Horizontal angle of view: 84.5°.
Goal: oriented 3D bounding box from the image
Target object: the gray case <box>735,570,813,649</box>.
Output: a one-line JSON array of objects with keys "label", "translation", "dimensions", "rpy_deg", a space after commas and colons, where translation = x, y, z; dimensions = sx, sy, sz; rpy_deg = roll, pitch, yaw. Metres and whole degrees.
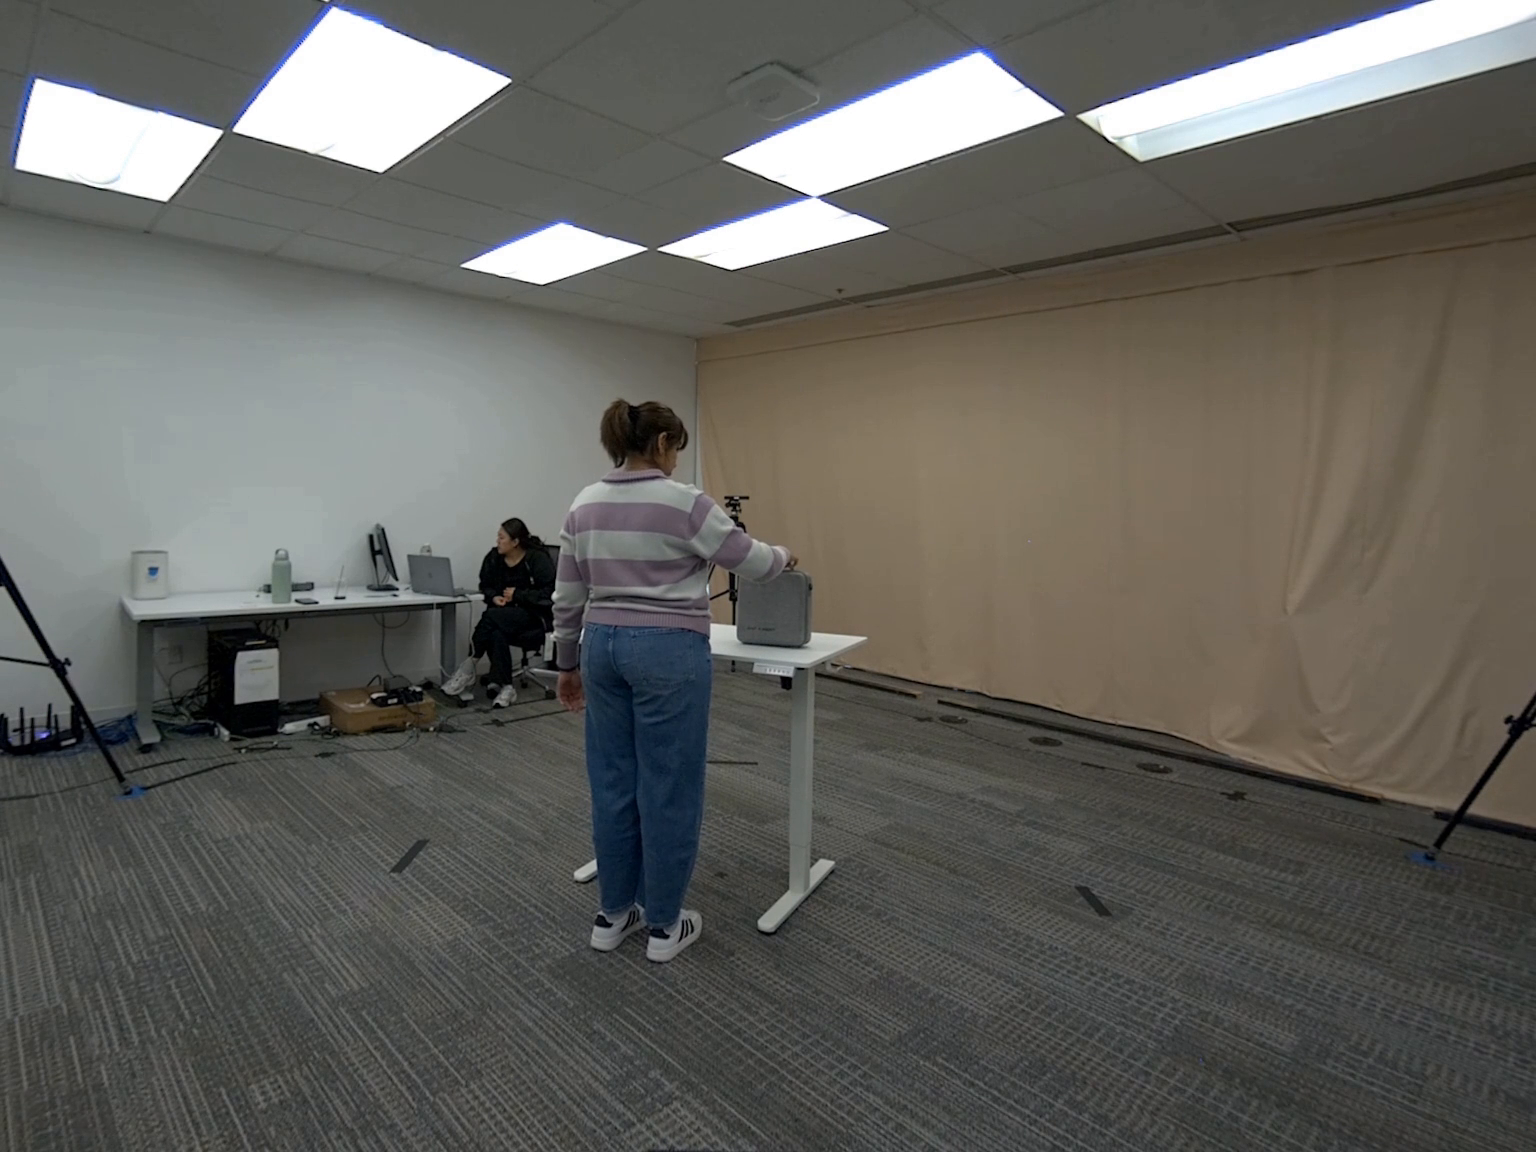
[{"label": "gray case", "translation": [0.013, 0.107, 2.910], "dimensions": [0.262, 0.261, 0.102], "rpy_deg": [2, -1, 24]}]
